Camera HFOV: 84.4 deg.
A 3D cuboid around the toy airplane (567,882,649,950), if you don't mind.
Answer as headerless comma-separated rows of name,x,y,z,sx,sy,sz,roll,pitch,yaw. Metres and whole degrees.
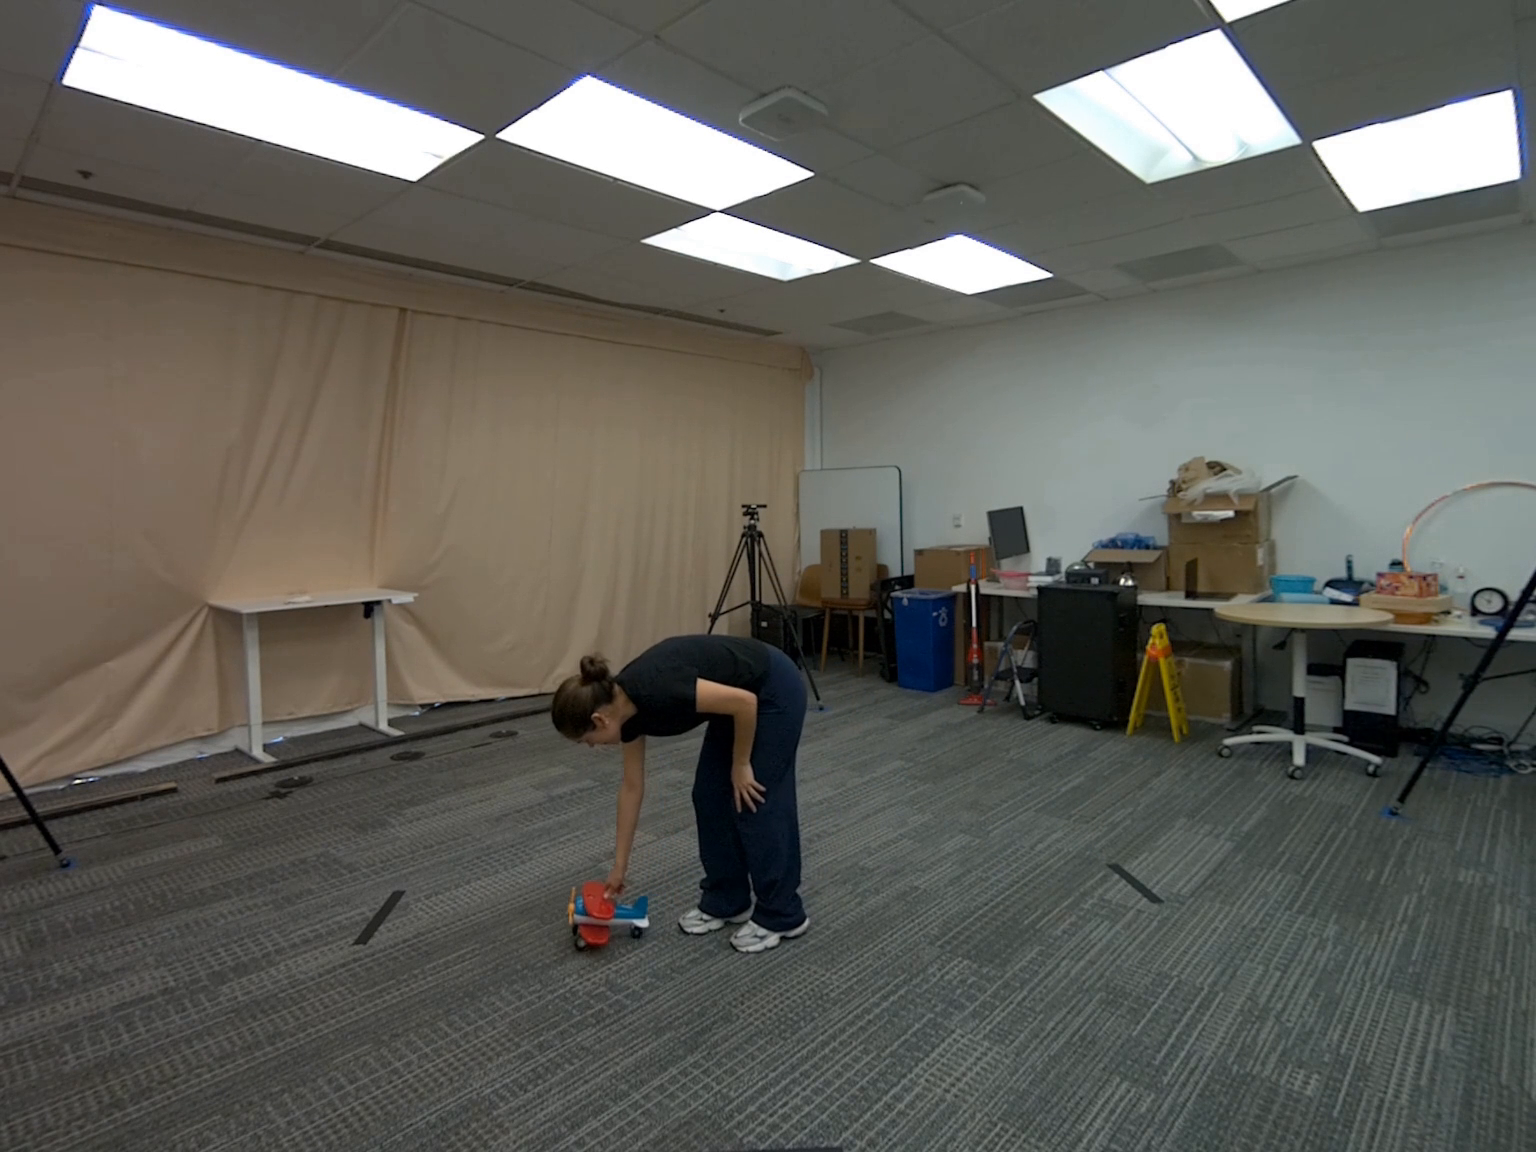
toy airplane,-0.507,1.105,2.732,0.251,0.156,0.259,-7,7,-43
